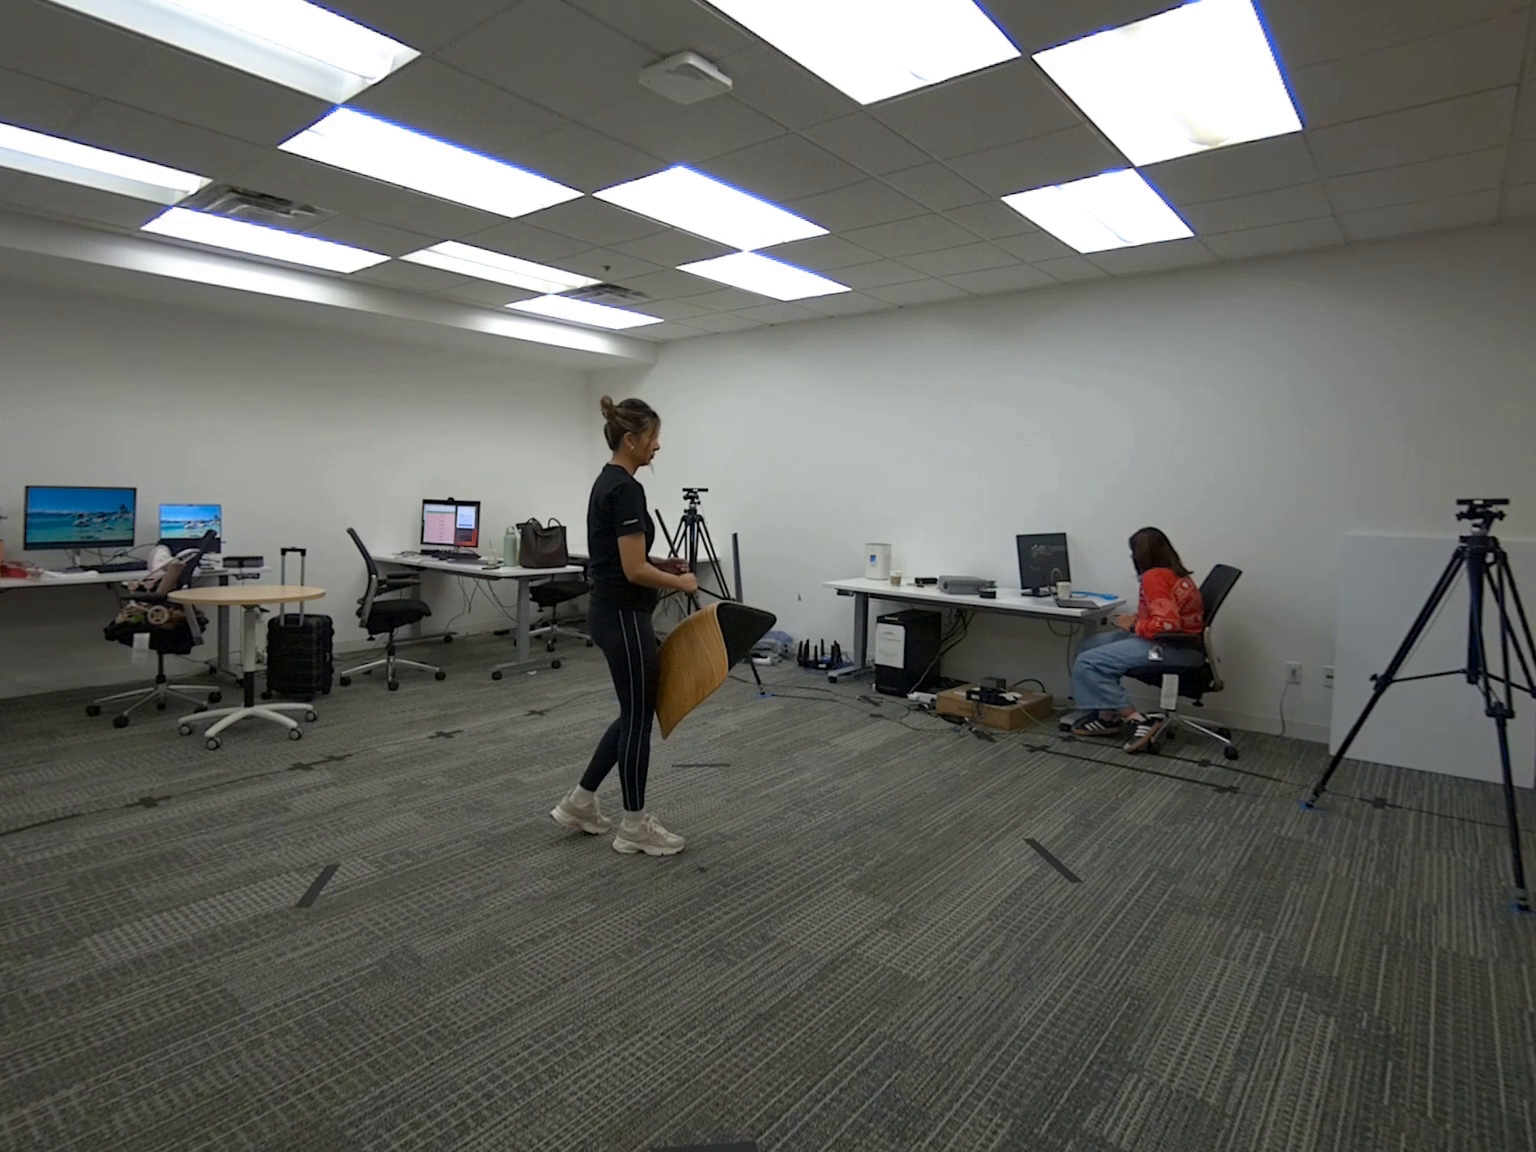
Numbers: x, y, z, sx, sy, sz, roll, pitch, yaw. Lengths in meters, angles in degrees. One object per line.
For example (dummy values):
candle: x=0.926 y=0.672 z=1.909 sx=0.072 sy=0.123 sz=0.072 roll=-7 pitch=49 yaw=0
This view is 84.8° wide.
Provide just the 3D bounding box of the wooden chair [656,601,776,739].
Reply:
wooden chair: x=-0.262 y=0.235 z=3.379 sx=0.503 sy=0.478 sz=0.912 roll=19 pitch=33 yaw=-40
